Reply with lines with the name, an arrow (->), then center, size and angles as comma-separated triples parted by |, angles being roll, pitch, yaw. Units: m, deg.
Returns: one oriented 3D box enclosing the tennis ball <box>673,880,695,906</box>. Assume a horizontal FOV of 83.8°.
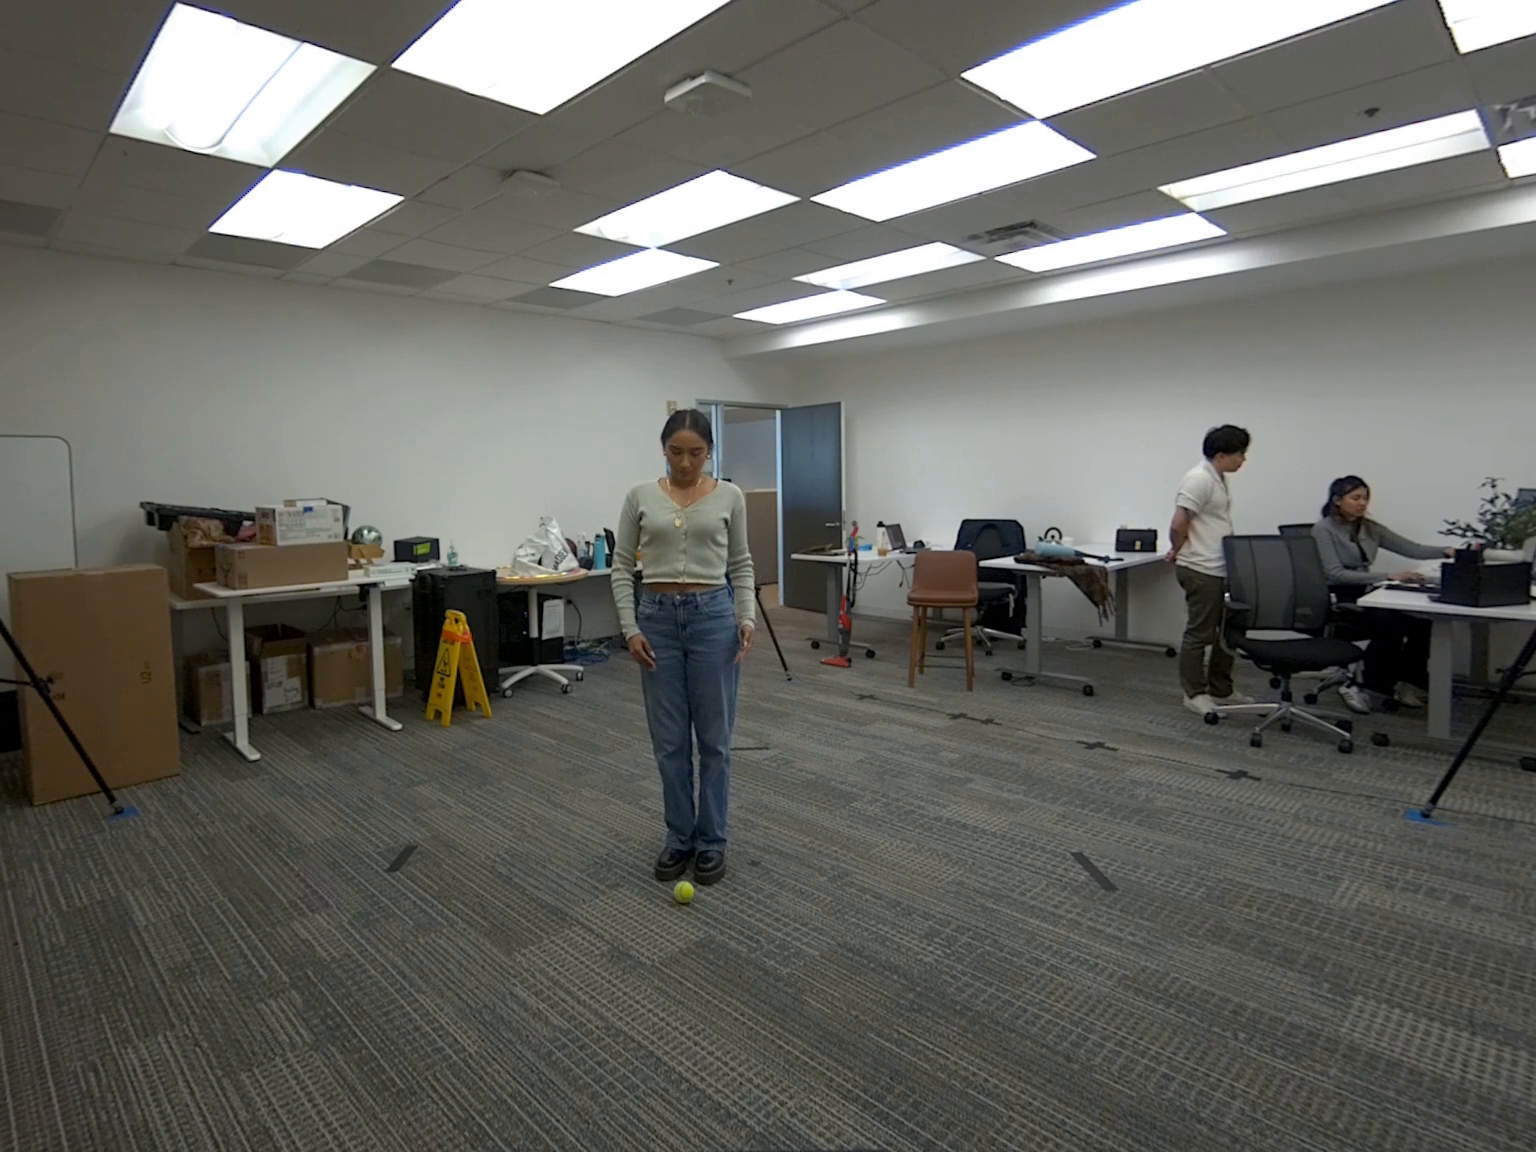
tennis ball -> -0.271, 1.040, 2.828 | 0.066, 0.066, 0.067 | -1, 5, -2
